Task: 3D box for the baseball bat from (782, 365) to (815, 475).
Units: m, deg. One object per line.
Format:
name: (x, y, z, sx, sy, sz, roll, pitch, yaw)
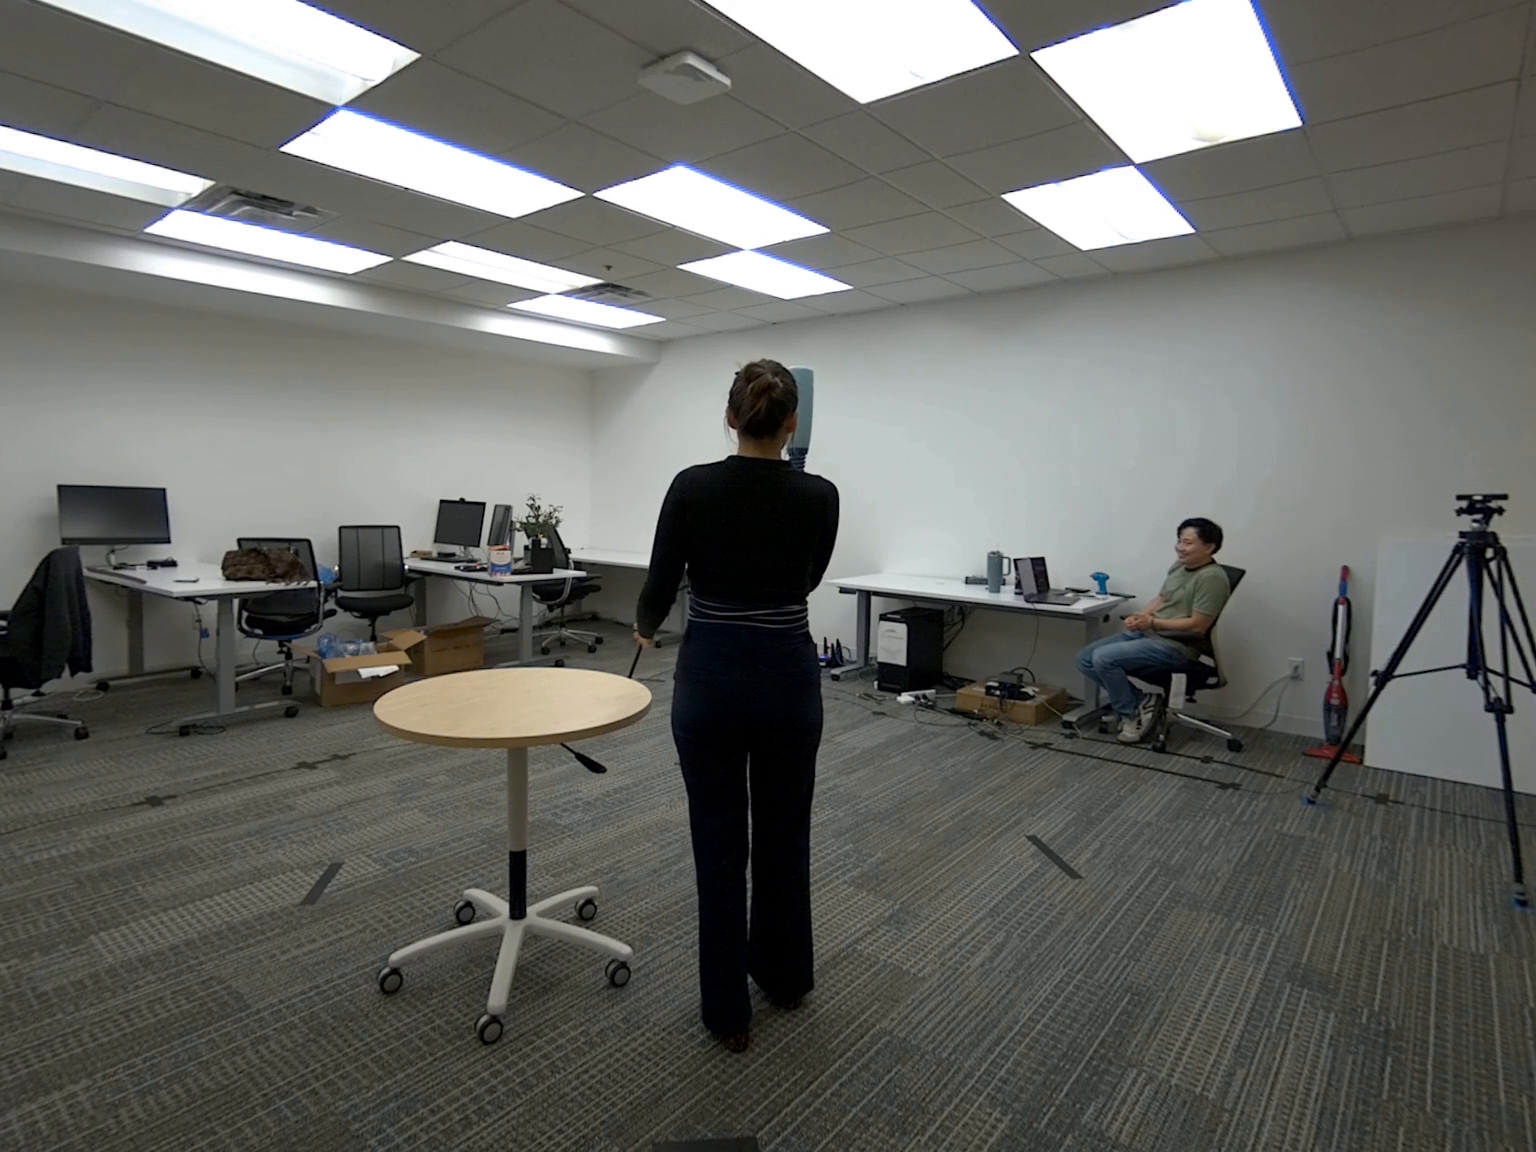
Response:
baseball bat: (0.086, -0.374, 2.611, 0.089, 0.542, 0.089, 1, 1, -2)
